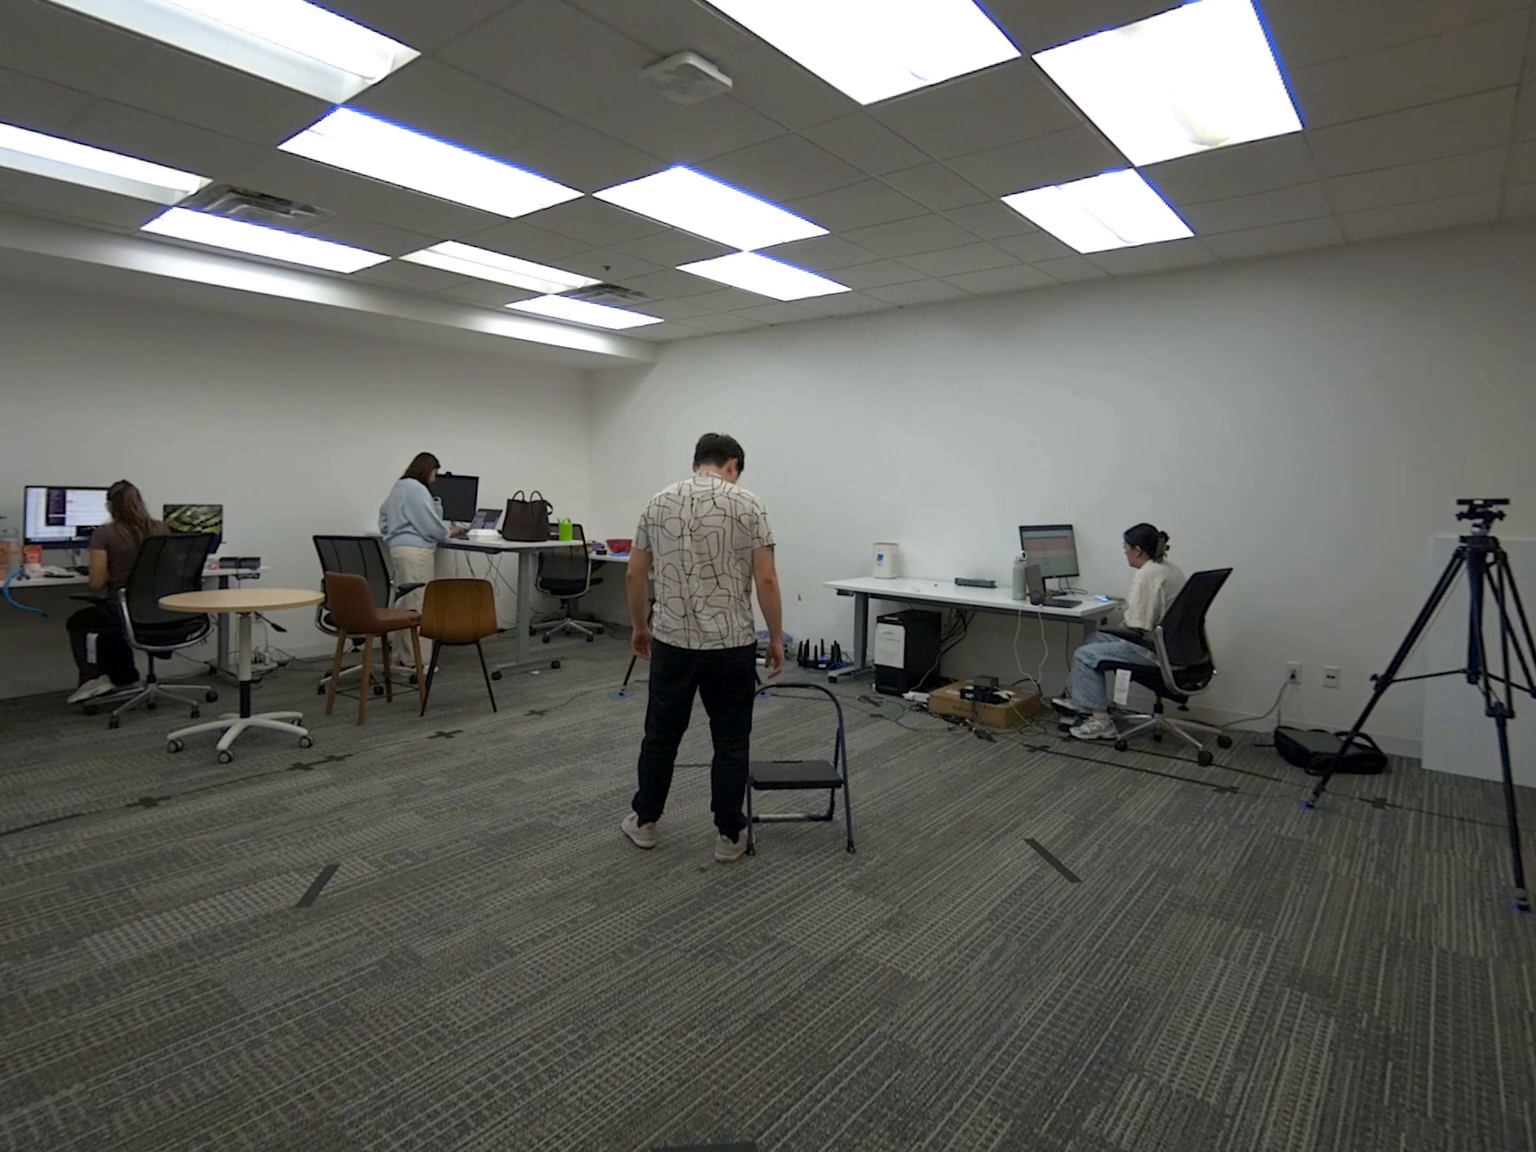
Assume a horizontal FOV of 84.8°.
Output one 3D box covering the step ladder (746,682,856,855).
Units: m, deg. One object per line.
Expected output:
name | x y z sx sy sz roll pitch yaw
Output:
step ladder | 0.104 0.747 3.421 0.427 0.604 0.354 0 4 -9
